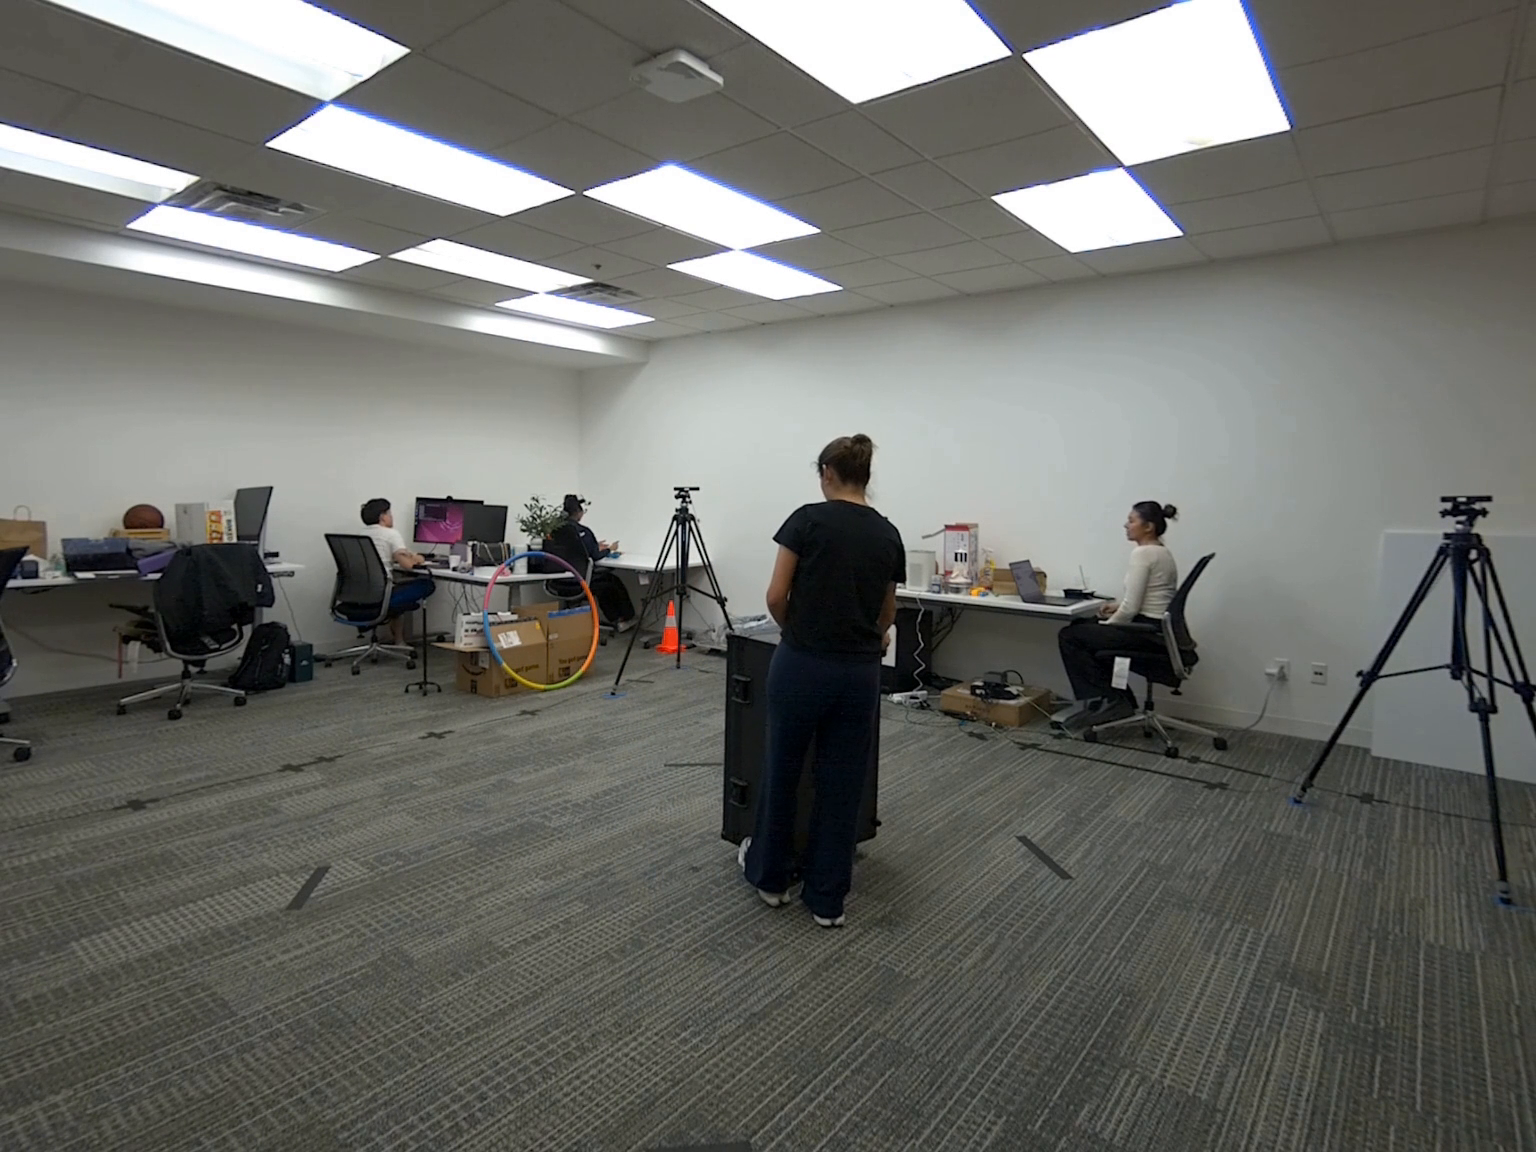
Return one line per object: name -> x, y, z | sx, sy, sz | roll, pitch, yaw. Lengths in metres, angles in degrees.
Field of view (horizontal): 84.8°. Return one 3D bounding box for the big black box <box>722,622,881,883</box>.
big black box -> 0.160, 0.633, 3.217 | 0.505, 0.858, 0.410 | -2, 5, -40
